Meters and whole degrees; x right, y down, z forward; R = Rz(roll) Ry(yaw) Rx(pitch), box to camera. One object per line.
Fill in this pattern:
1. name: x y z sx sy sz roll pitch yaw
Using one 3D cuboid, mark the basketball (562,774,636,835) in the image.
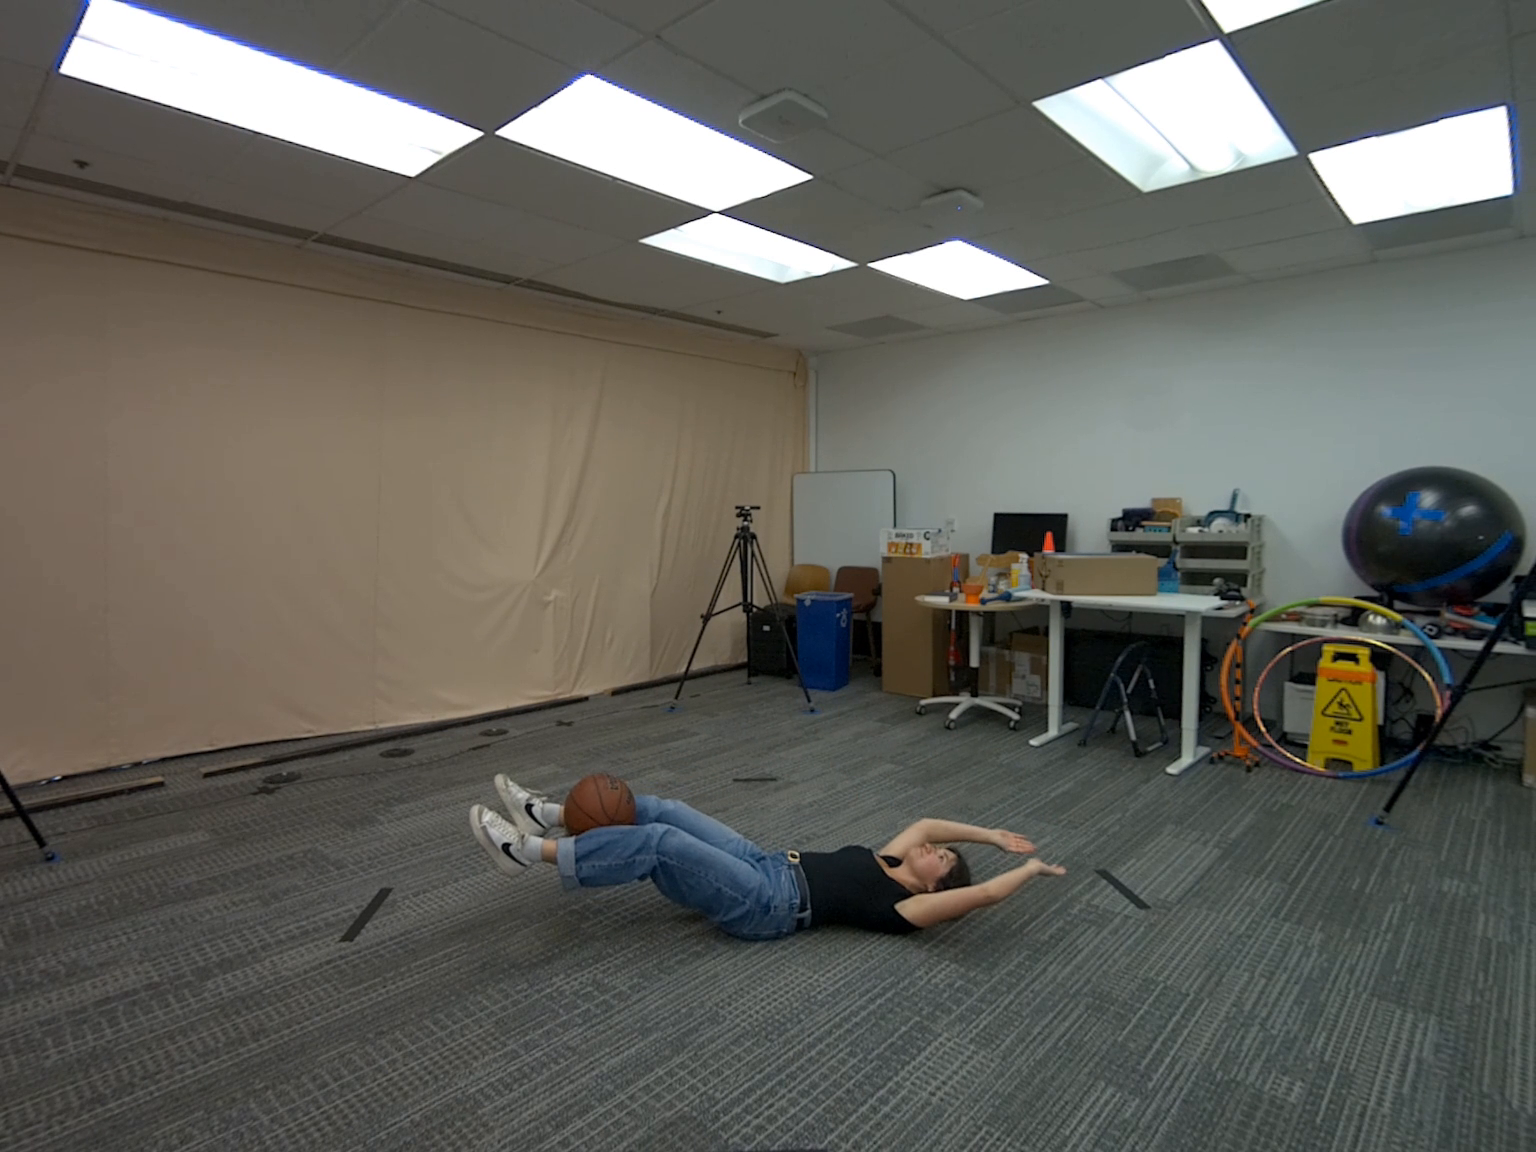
1. basketball: -0.550 0.768 2.783 0.236 0.235 0.237 0 4 -2
